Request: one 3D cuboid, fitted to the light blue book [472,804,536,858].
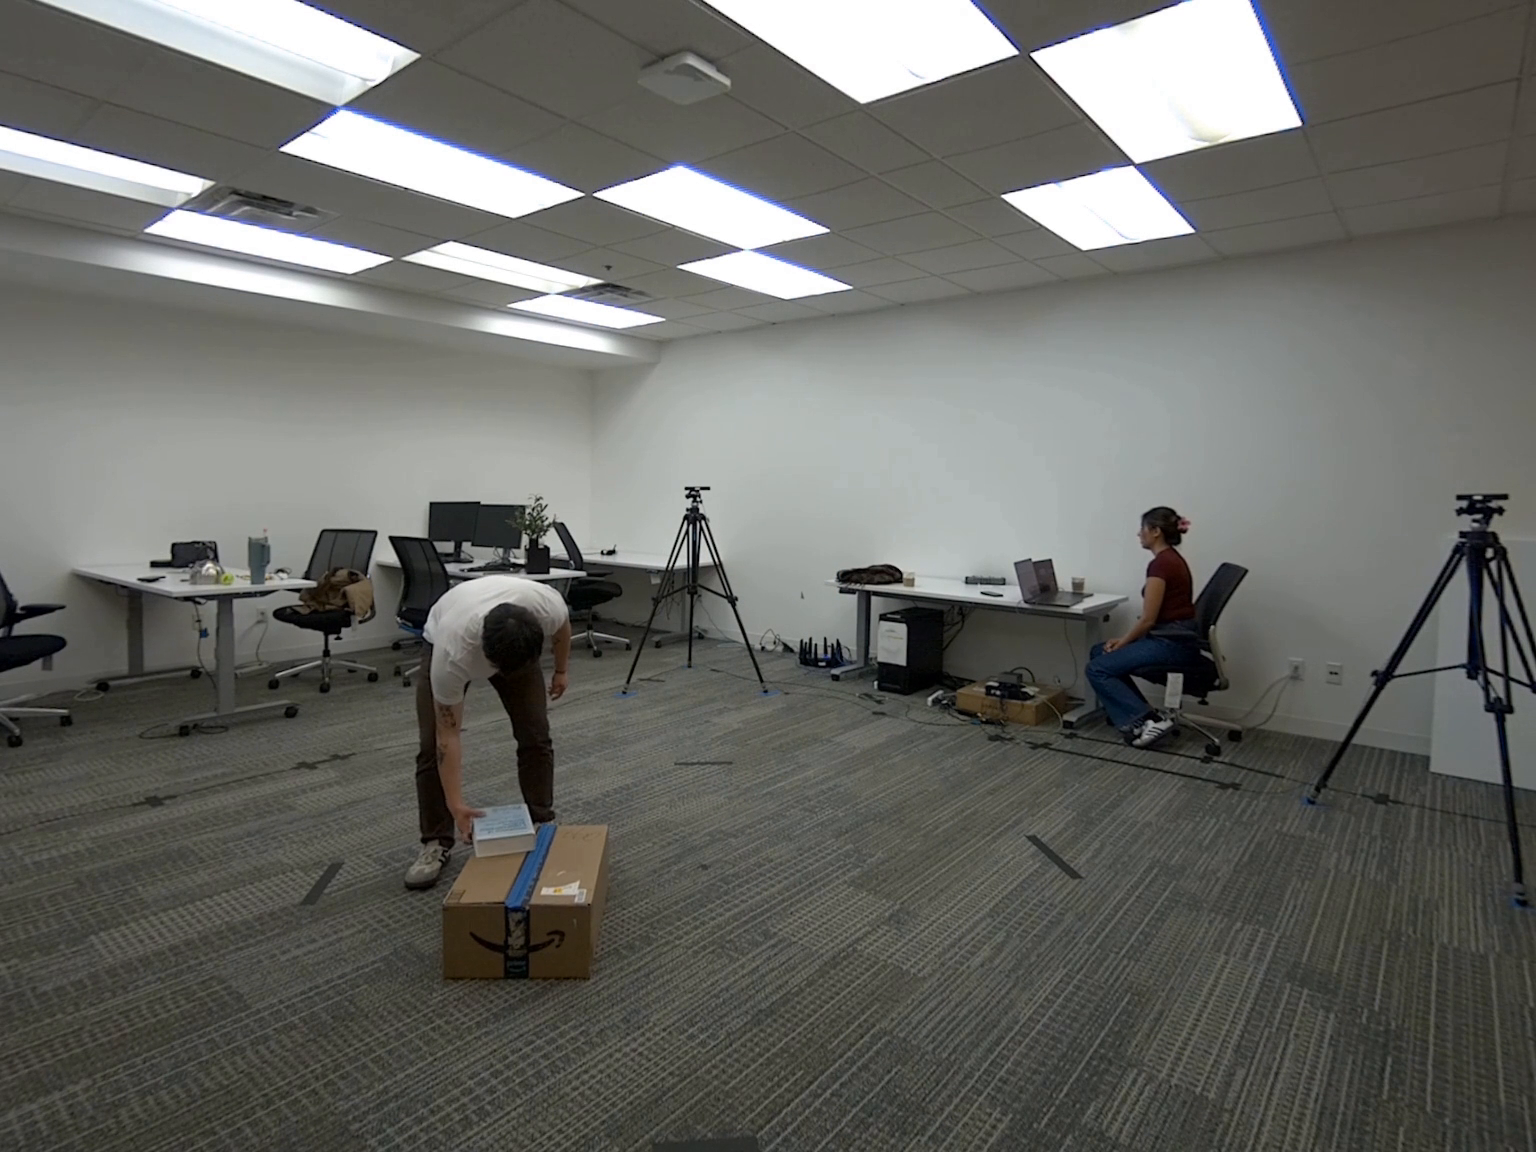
[{"bbox_3d":[-0.898,0.845,2.836,0.187,0.059,0.268,-2,7,-22],"label":"light blue book"}]
